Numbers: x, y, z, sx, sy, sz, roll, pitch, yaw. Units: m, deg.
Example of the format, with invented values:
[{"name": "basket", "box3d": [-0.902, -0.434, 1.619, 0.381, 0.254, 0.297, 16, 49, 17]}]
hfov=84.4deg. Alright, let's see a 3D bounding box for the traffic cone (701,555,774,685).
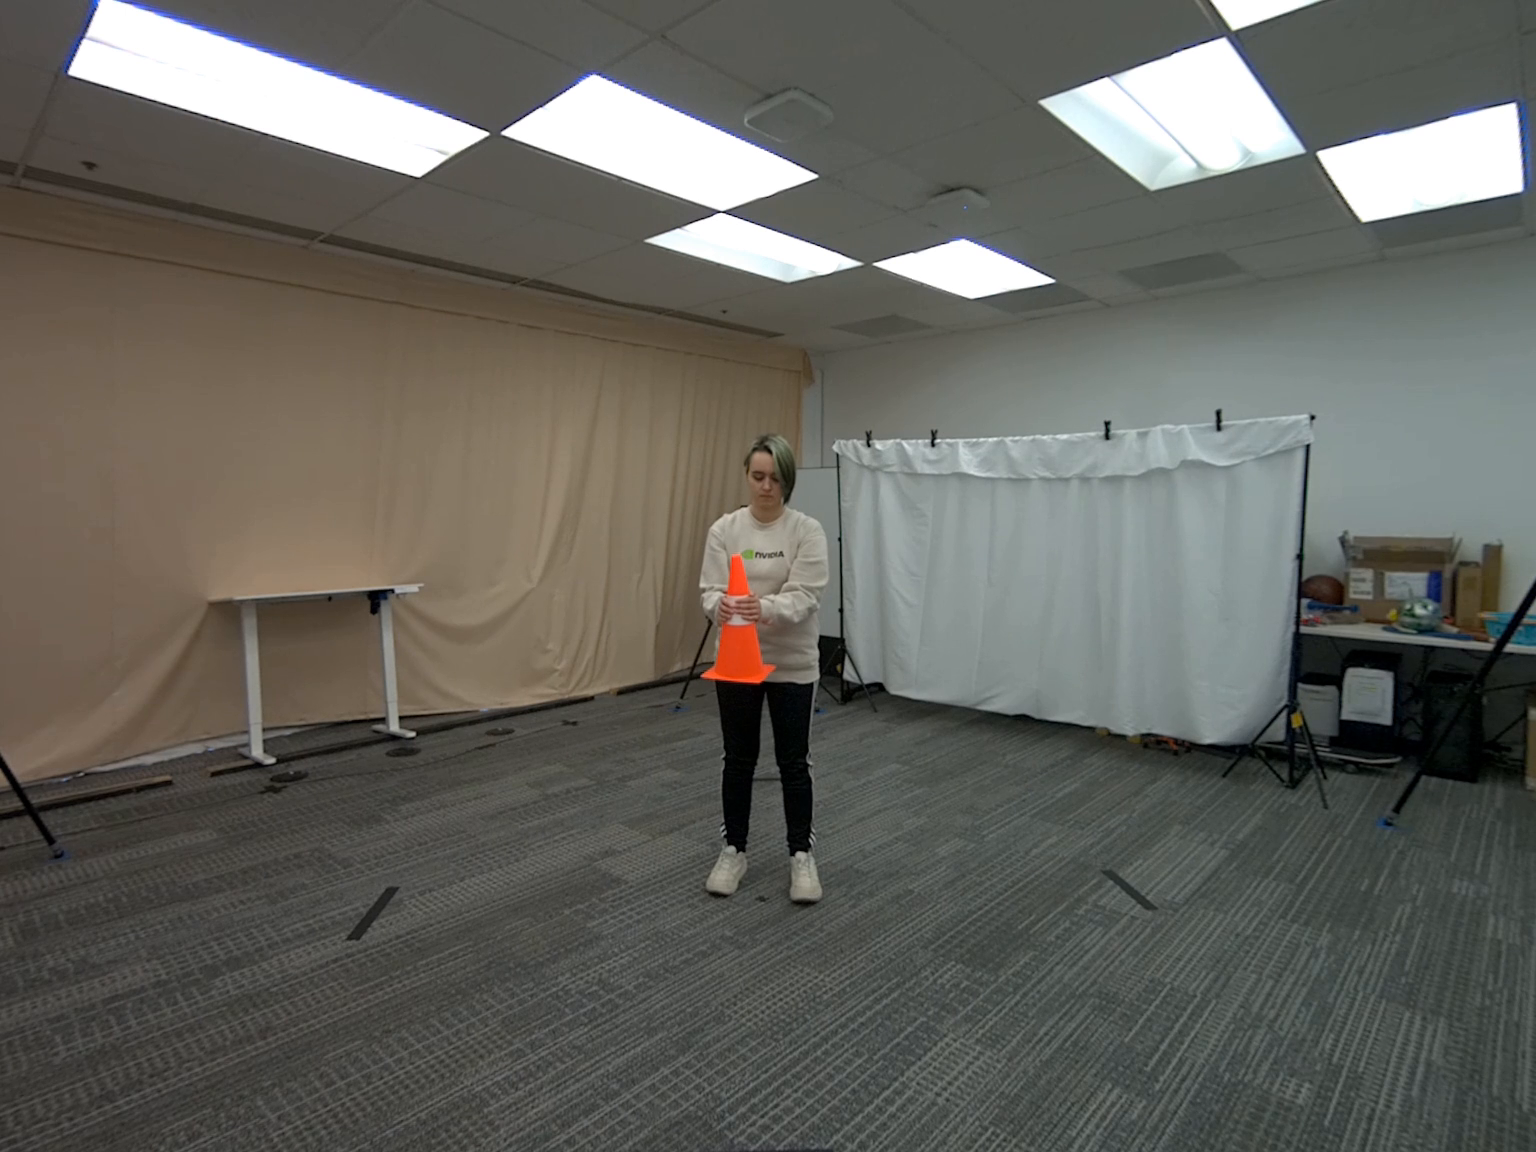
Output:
[{"name": "traffic cone", "box3d": [-0.095, 0.126, 2.687, 0.210, 0.381, 0.200, 3, 10, 21]}]
